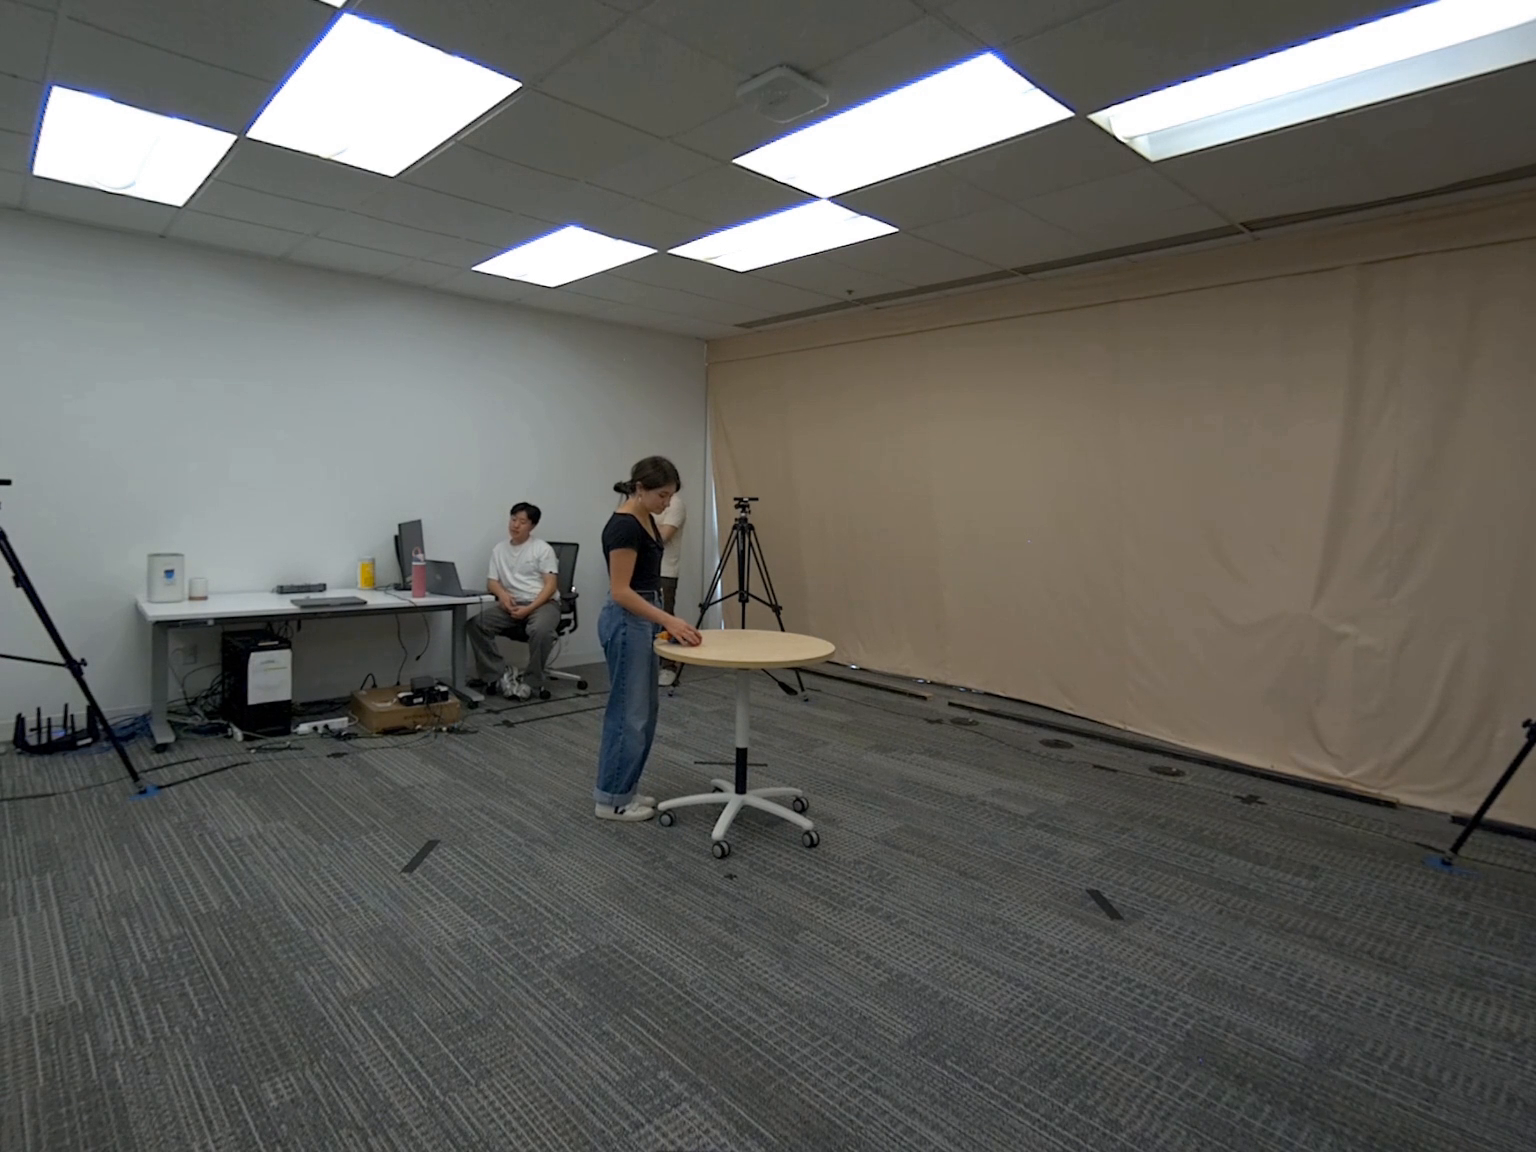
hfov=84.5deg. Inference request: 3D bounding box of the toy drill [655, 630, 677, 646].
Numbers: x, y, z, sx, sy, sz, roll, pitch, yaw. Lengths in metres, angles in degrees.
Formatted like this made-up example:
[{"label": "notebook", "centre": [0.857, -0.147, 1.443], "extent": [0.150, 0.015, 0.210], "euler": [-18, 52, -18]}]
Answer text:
[{"label": "toy drill", "centre": [-0.379, 0.260, 3.493], "extent": [0.150, 0.061, 0.165], "euler": [7, -2, 45]}]
